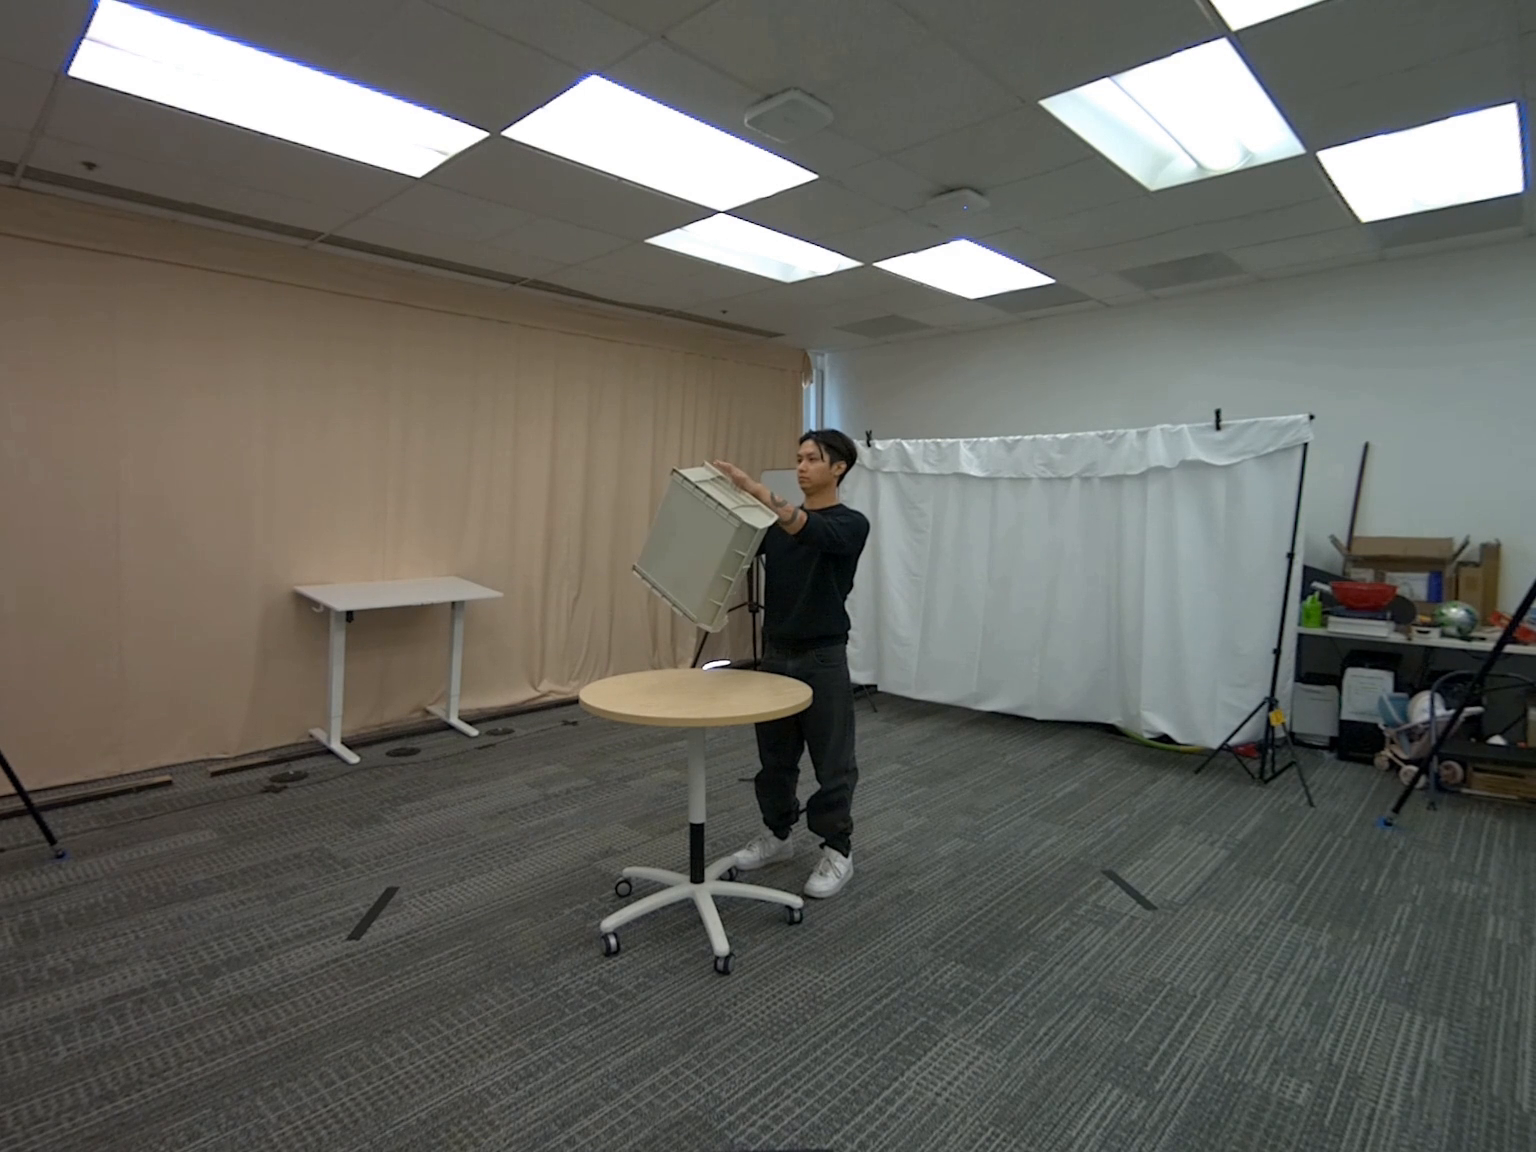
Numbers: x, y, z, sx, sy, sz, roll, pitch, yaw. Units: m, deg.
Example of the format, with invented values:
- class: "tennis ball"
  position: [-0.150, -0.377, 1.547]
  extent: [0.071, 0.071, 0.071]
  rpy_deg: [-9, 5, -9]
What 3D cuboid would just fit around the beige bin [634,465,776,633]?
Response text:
- class: "beige bin"
  position: [-0.195, -0.096, 2.777]
  extent: [0.388, 0.421, 0.184]
  rpy_deg: [39, 28, 24]
